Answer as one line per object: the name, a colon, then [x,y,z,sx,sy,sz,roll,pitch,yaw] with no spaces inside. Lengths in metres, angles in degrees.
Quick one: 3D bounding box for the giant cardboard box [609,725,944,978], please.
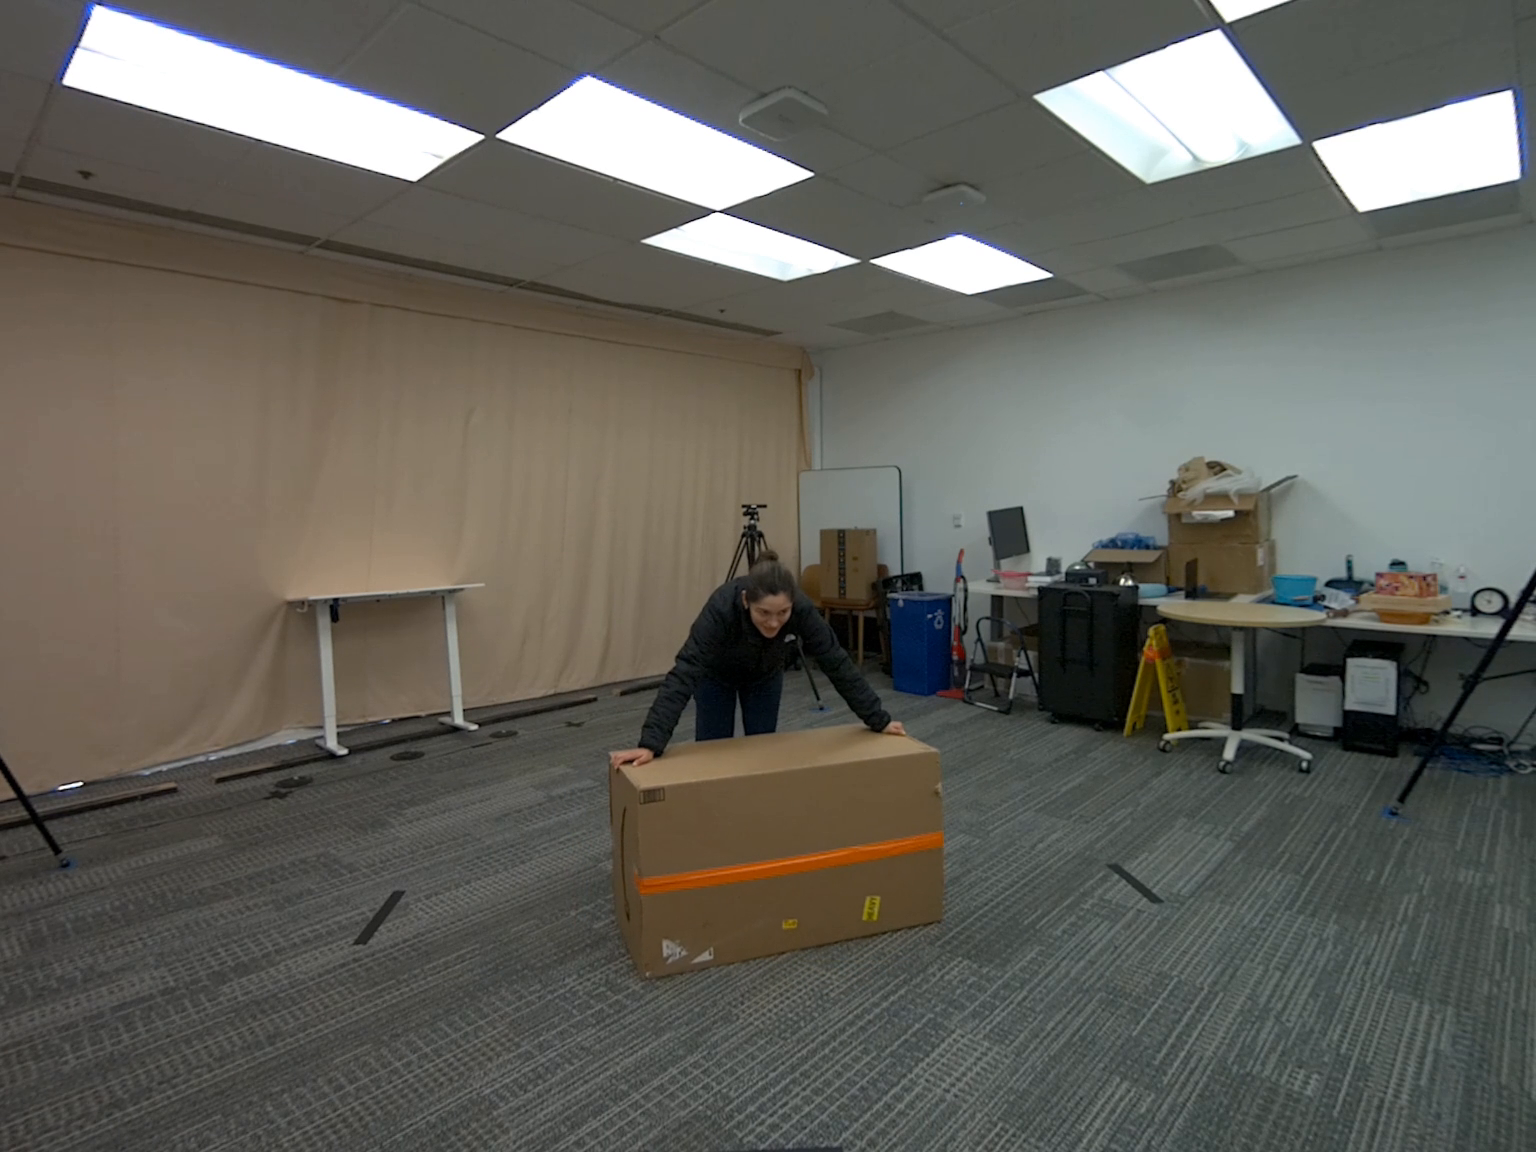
giant cardboard box: [0.042,0.868,2.808,1.008,0.583,0.456,-3,3,-19]
